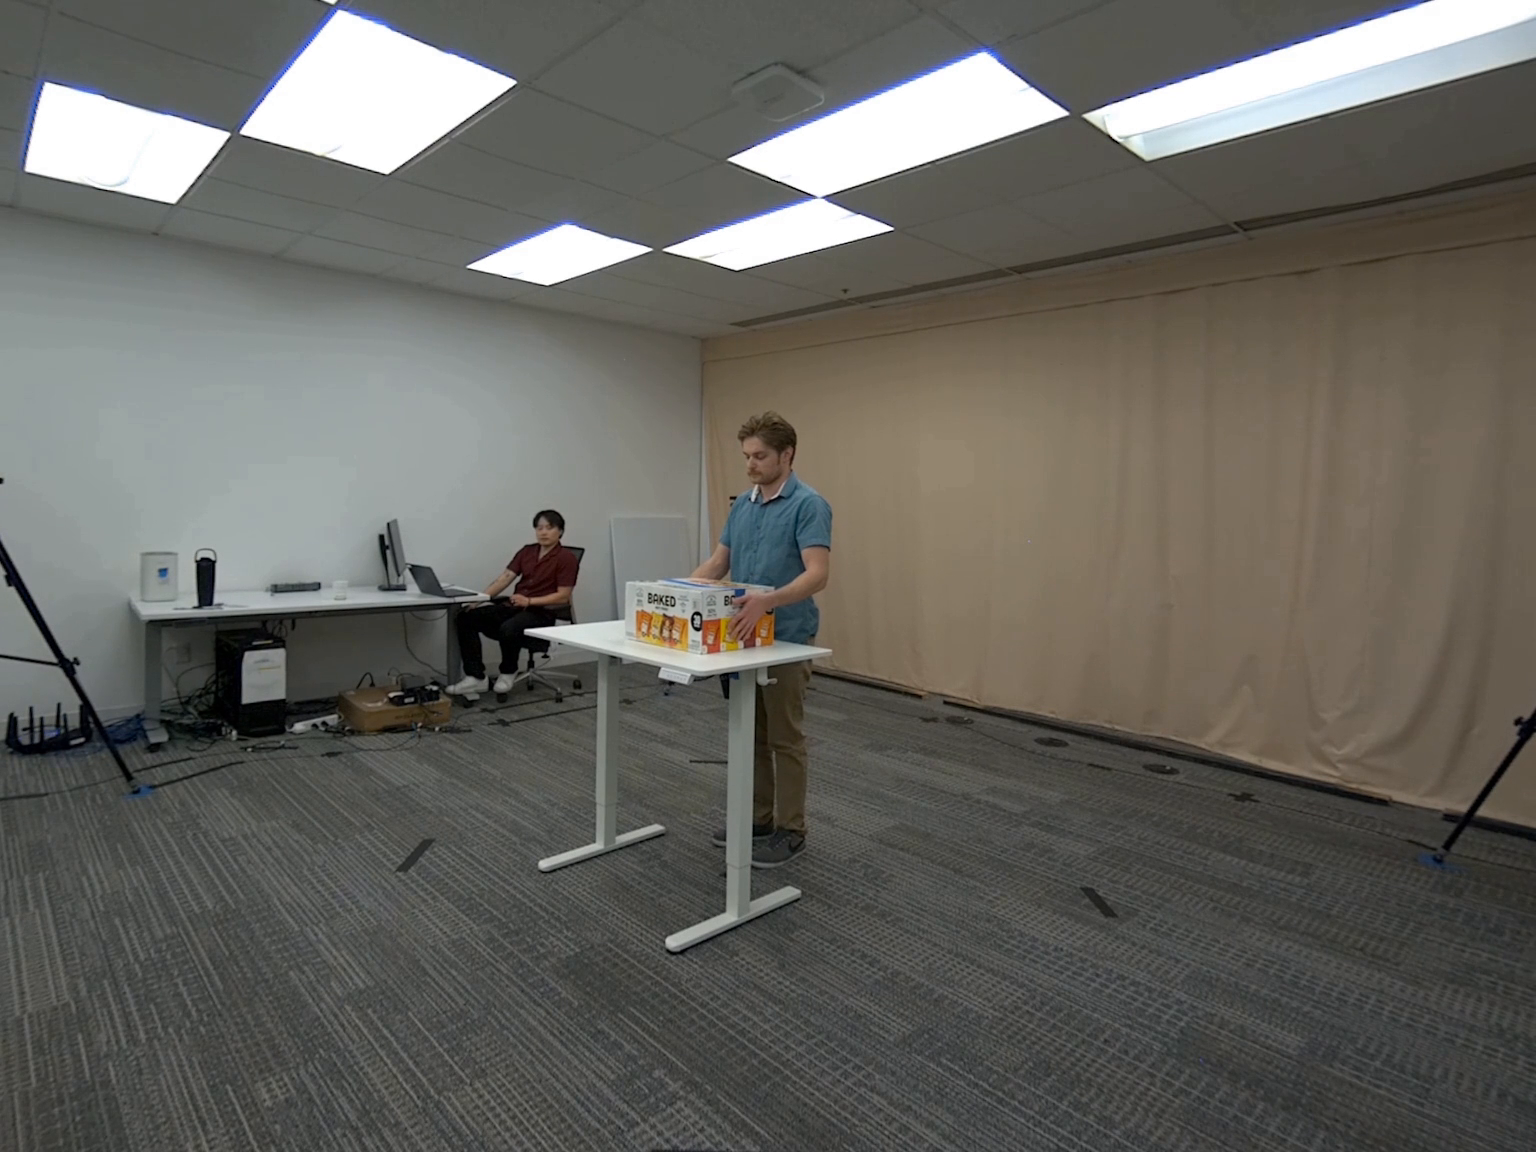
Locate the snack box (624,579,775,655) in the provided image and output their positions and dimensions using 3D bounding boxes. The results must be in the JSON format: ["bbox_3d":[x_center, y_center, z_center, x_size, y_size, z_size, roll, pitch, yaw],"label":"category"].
[{"bbox_3d":[-0.253,0.130,2.947,0.415,0.205,0.332,5,5,44],"label":"snack box"}]
